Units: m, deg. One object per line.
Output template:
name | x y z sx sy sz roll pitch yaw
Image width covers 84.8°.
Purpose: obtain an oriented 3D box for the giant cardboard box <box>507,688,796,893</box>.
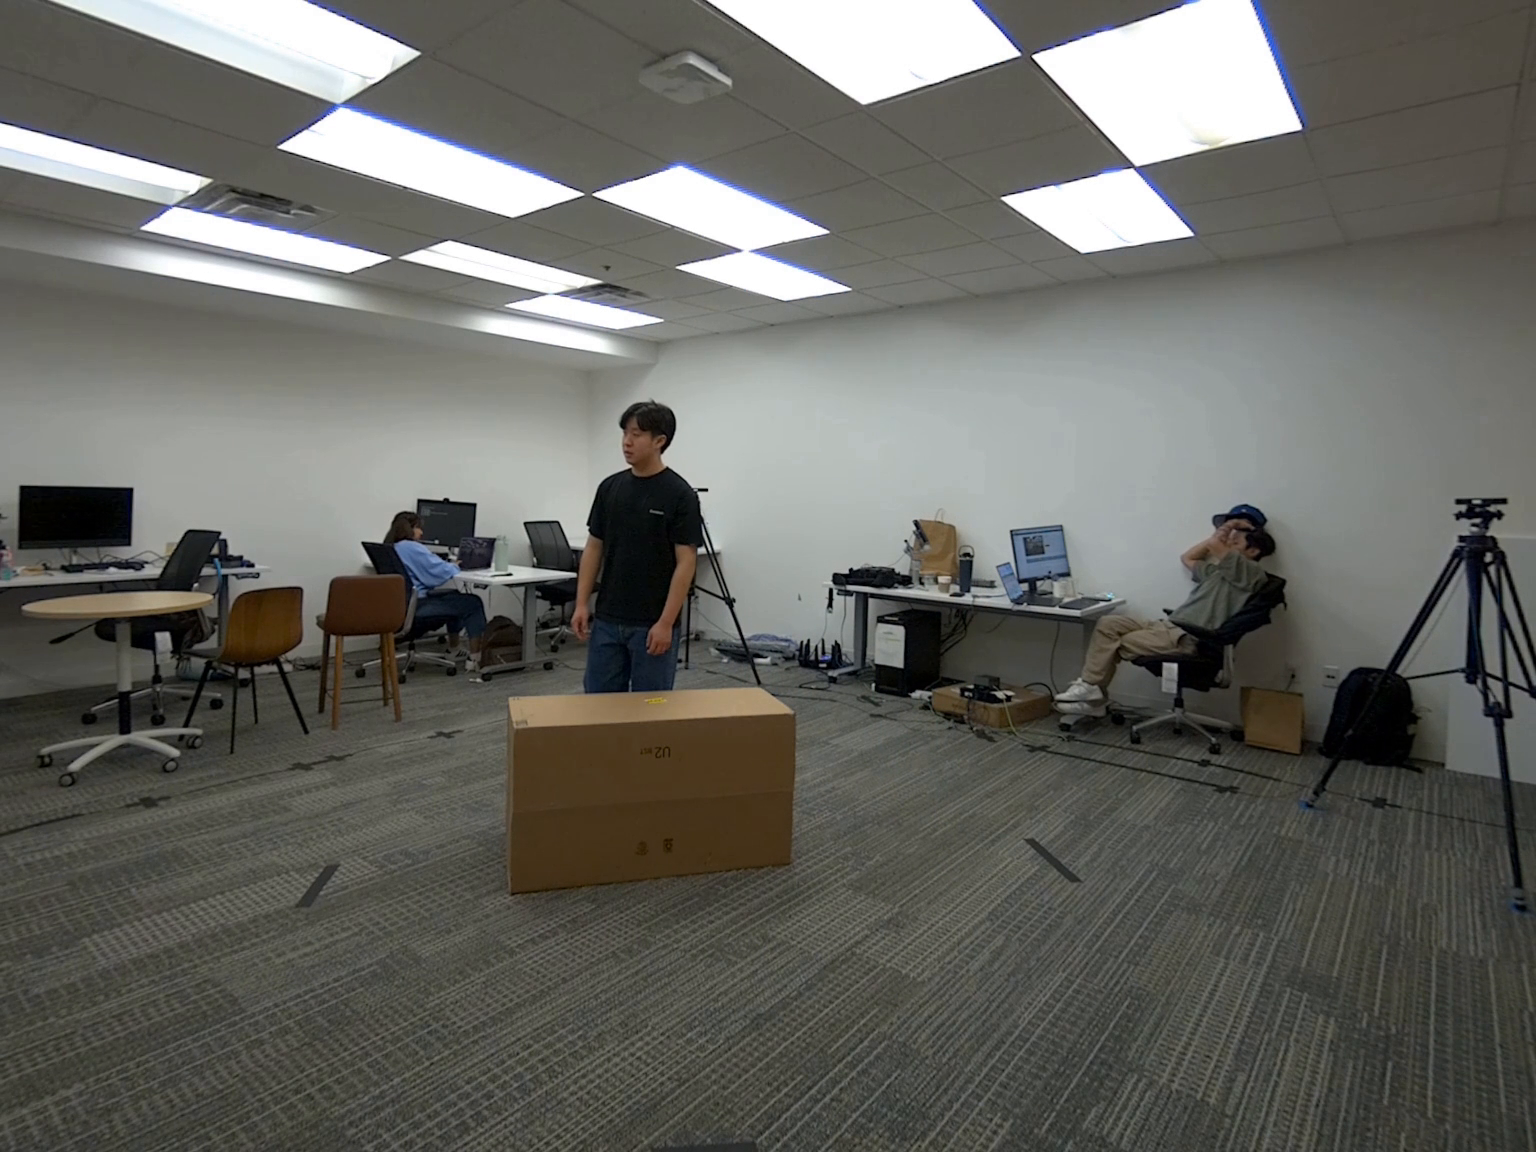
giant cardboard box | -0.461 0.766 3.210 1.008 0.583 0.456 0 3 -18
